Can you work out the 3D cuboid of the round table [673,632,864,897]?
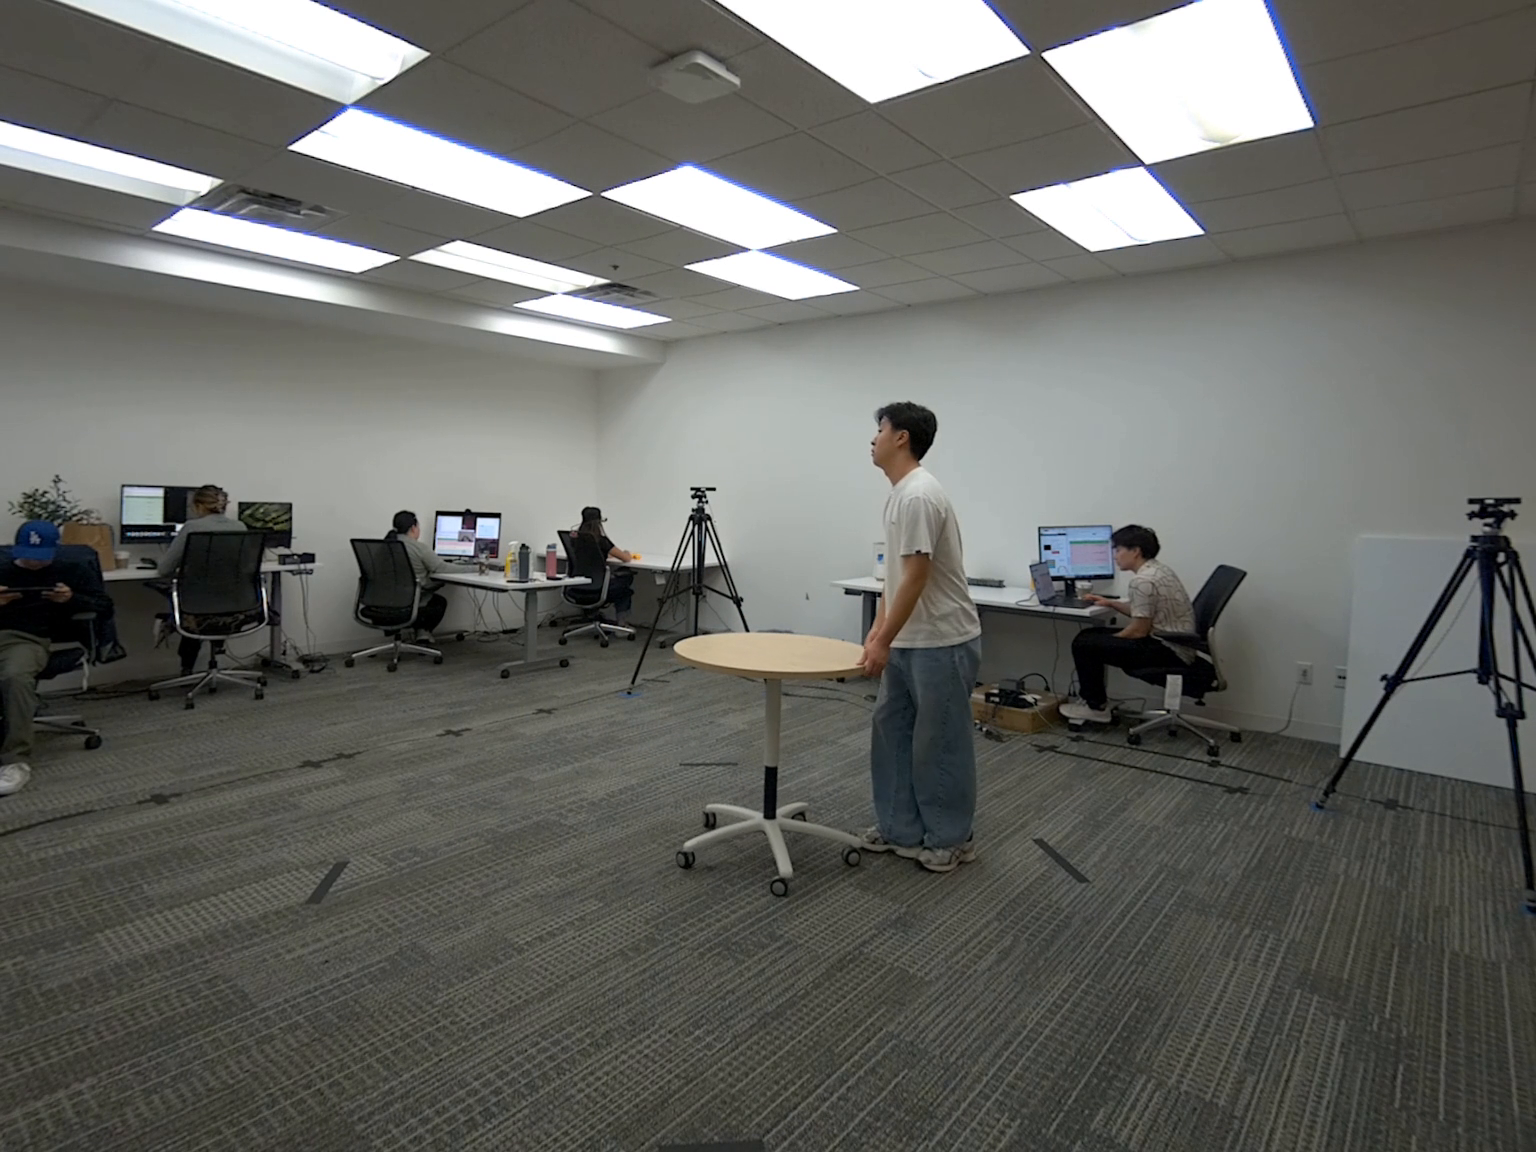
[{"bbox_3d":[-0.003,0.672,3.229,0.763,0.791,0.768,2,4,-2],"label":"round table"}]
